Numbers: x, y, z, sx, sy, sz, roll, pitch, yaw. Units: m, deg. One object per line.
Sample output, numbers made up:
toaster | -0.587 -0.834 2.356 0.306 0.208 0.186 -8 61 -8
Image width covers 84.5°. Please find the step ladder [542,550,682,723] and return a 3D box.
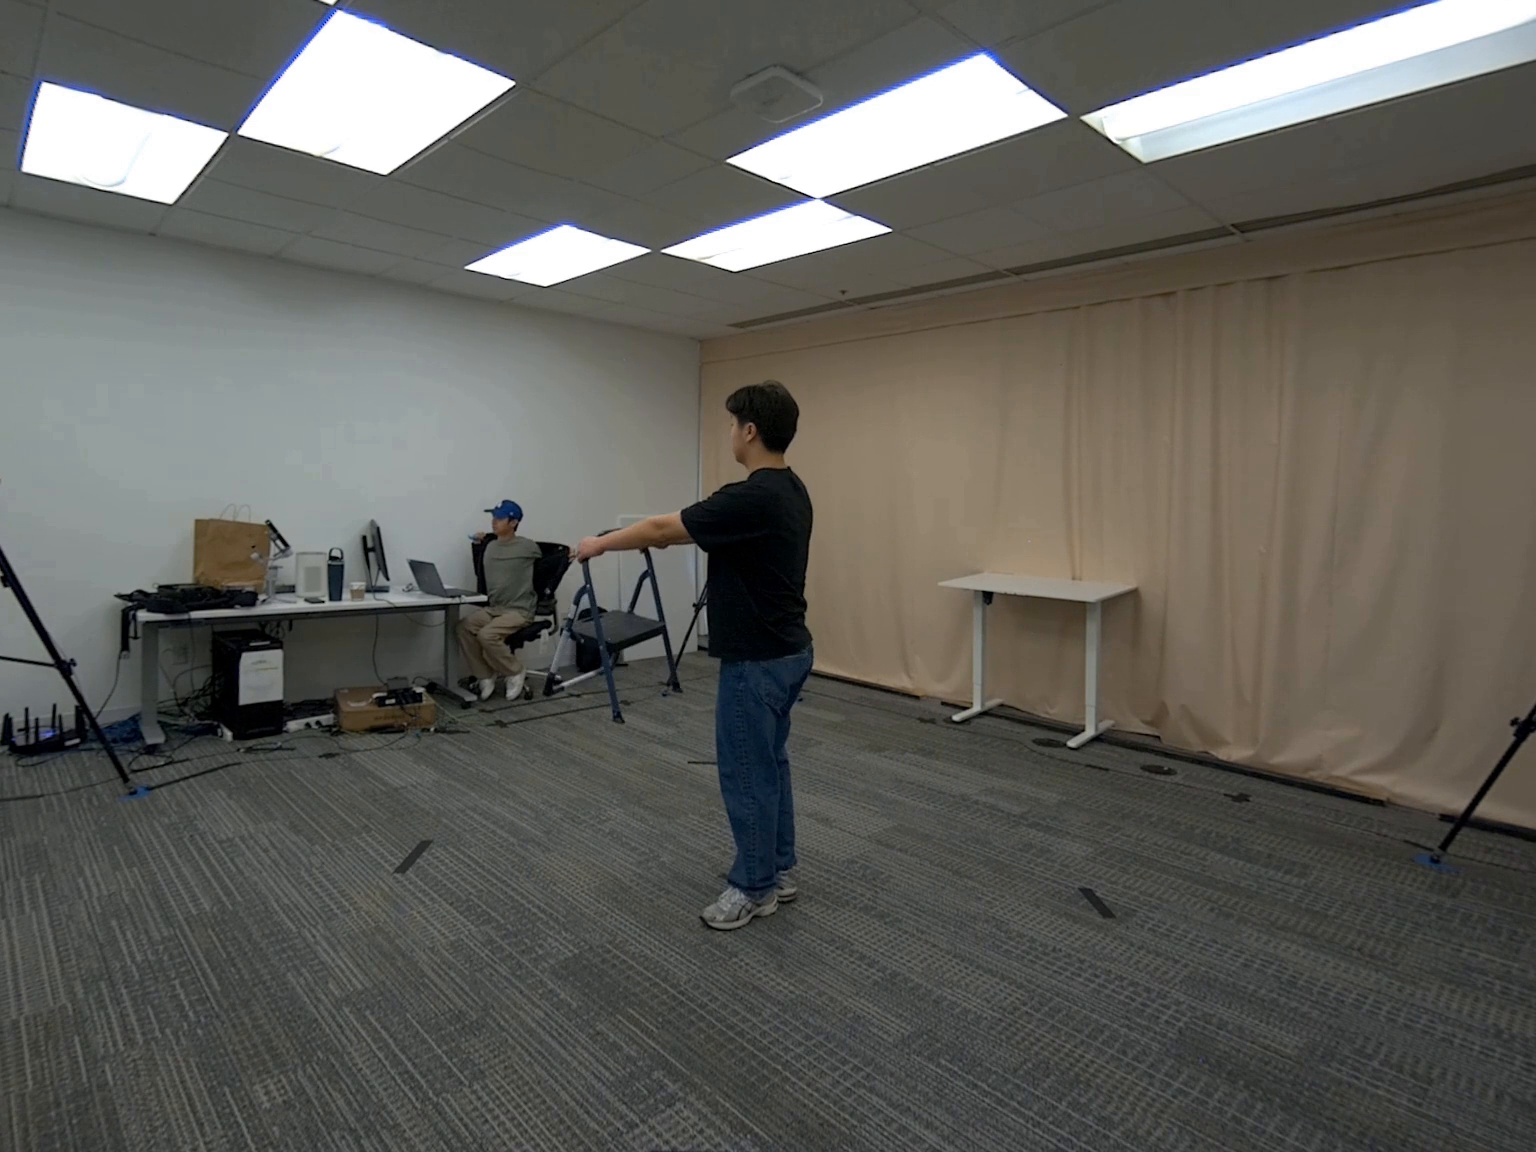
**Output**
step ladder | -0.529 0.150 3.062 0.356 0.602 0.425 12 12 23
